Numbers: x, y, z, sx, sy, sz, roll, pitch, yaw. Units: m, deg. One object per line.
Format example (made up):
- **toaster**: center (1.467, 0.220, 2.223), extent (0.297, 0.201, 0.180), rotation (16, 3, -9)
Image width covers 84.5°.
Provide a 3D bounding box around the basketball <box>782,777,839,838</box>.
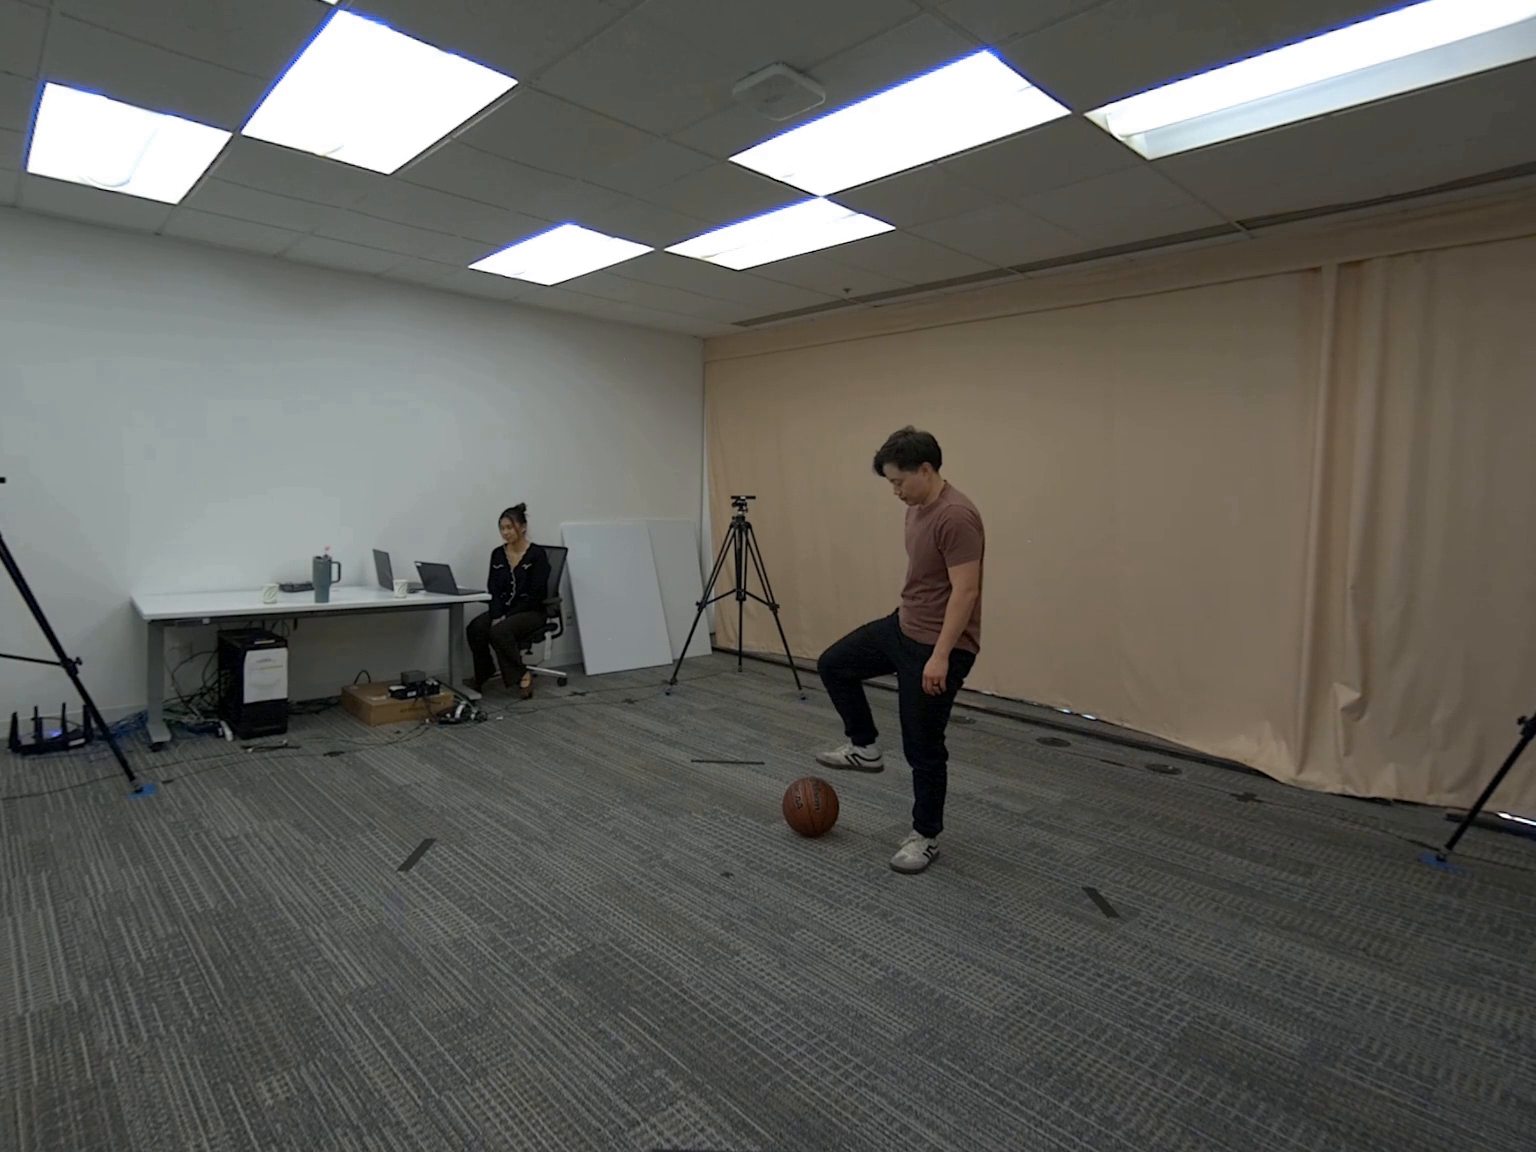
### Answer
- **basketball**: center (0.169, 0.953, 3.500), extent (0.236, 0.235, 0.237), rotation (1, 4, -1)
